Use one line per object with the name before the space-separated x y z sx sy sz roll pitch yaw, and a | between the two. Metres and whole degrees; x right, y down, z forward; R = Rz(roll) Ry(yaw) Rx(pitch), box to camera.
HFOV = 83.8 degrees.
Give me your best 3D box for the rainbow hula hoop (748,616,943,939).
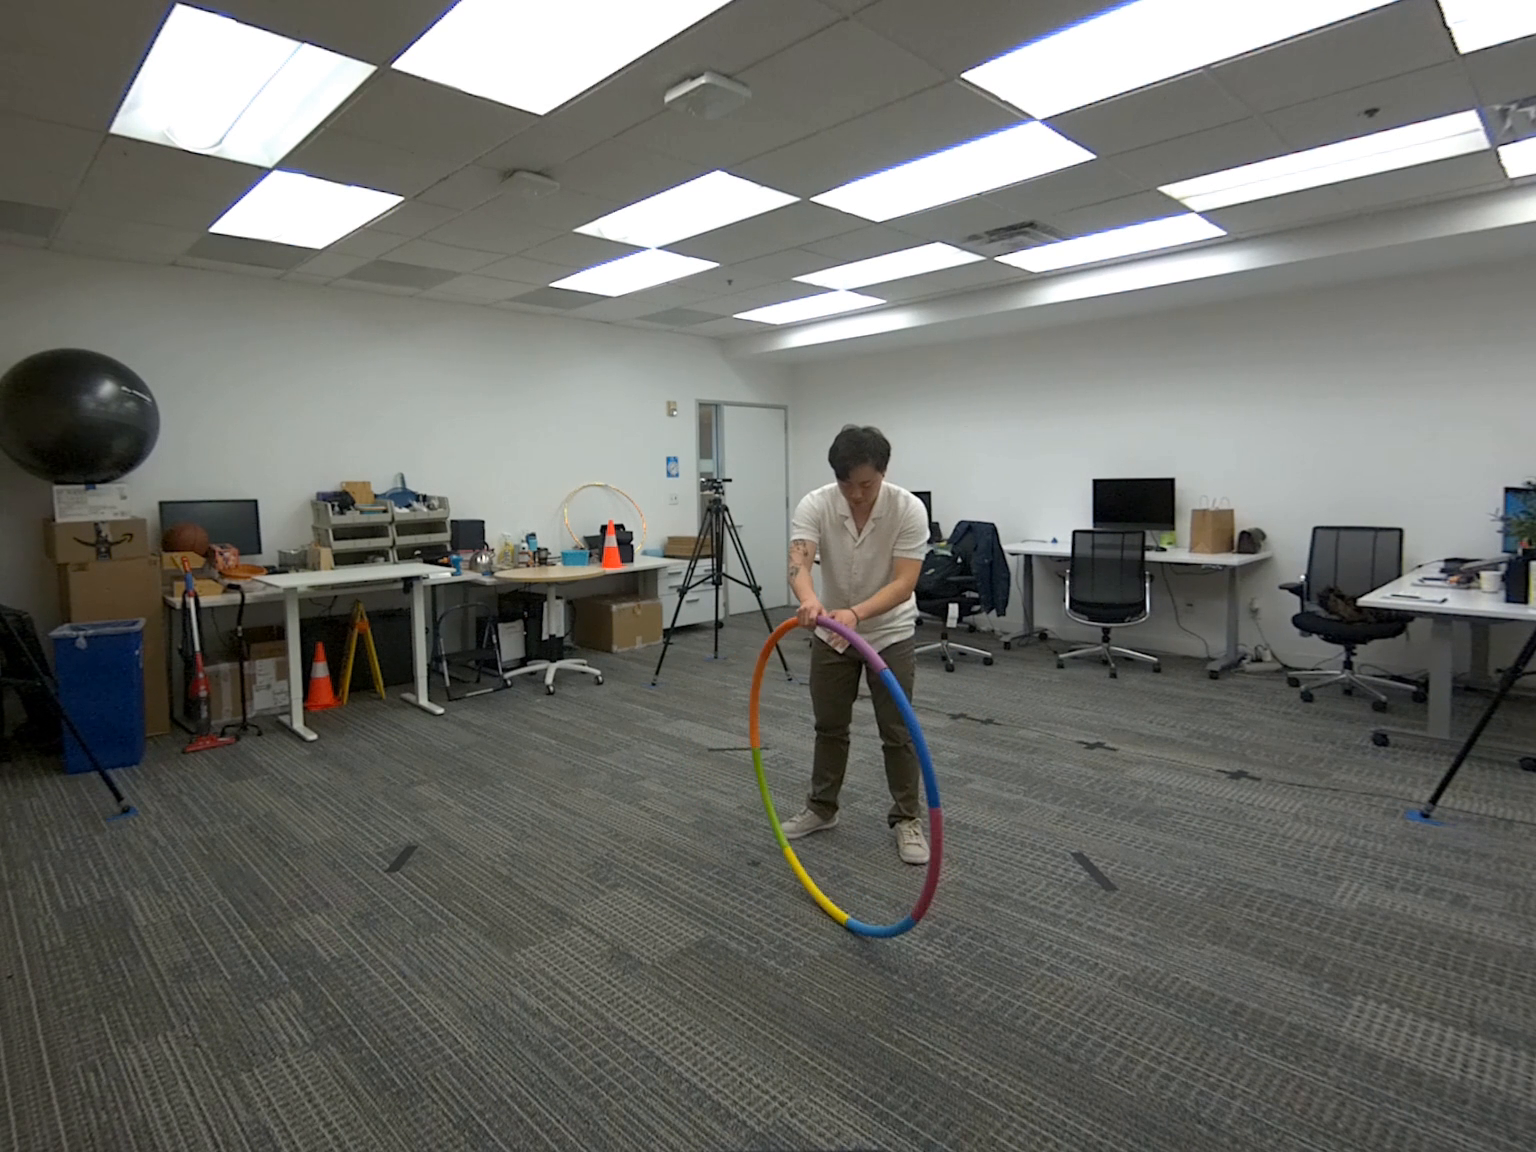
rainbow hula hoop | 0.198 0.607 2.657 0.035 0.973 1.005 -7 7 -29
